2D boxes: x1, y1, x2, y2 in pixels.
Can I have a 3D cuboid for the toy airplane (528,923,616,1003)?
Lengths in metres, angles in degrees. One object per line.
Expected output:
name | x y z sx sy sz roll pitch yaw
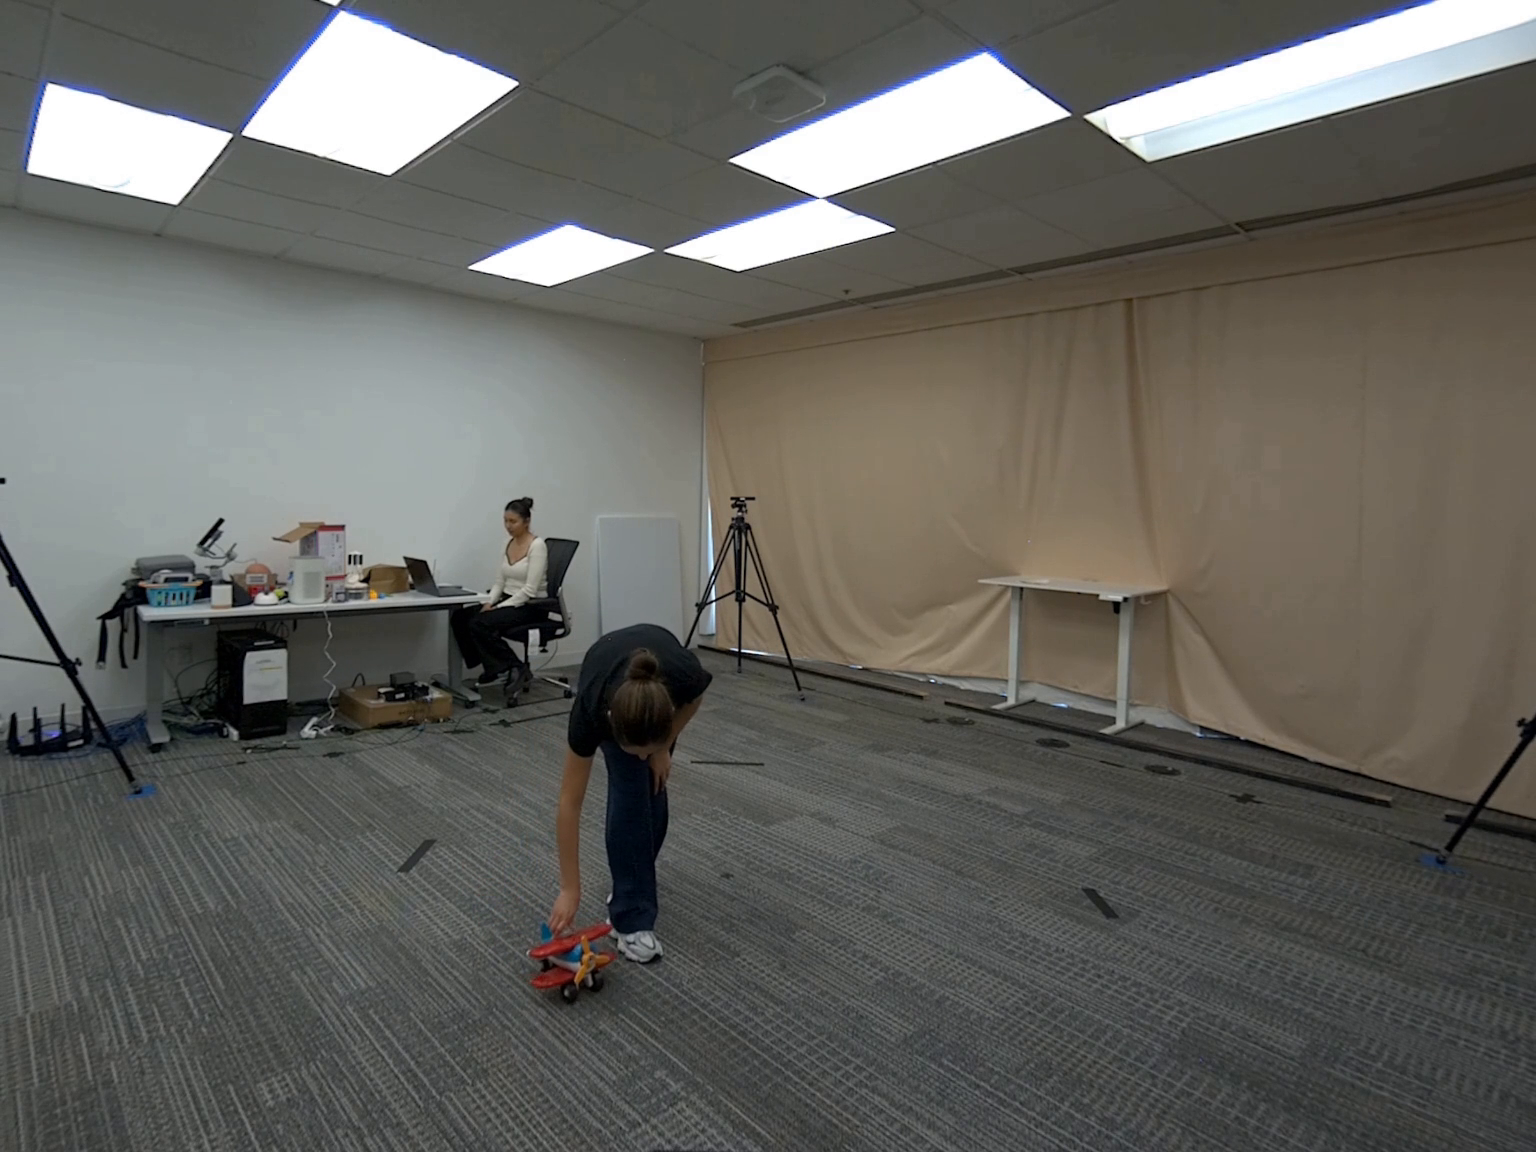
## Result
toy airplane | -0.584 1.092 2.364 0.263 0.156 0.248 4 5 19
